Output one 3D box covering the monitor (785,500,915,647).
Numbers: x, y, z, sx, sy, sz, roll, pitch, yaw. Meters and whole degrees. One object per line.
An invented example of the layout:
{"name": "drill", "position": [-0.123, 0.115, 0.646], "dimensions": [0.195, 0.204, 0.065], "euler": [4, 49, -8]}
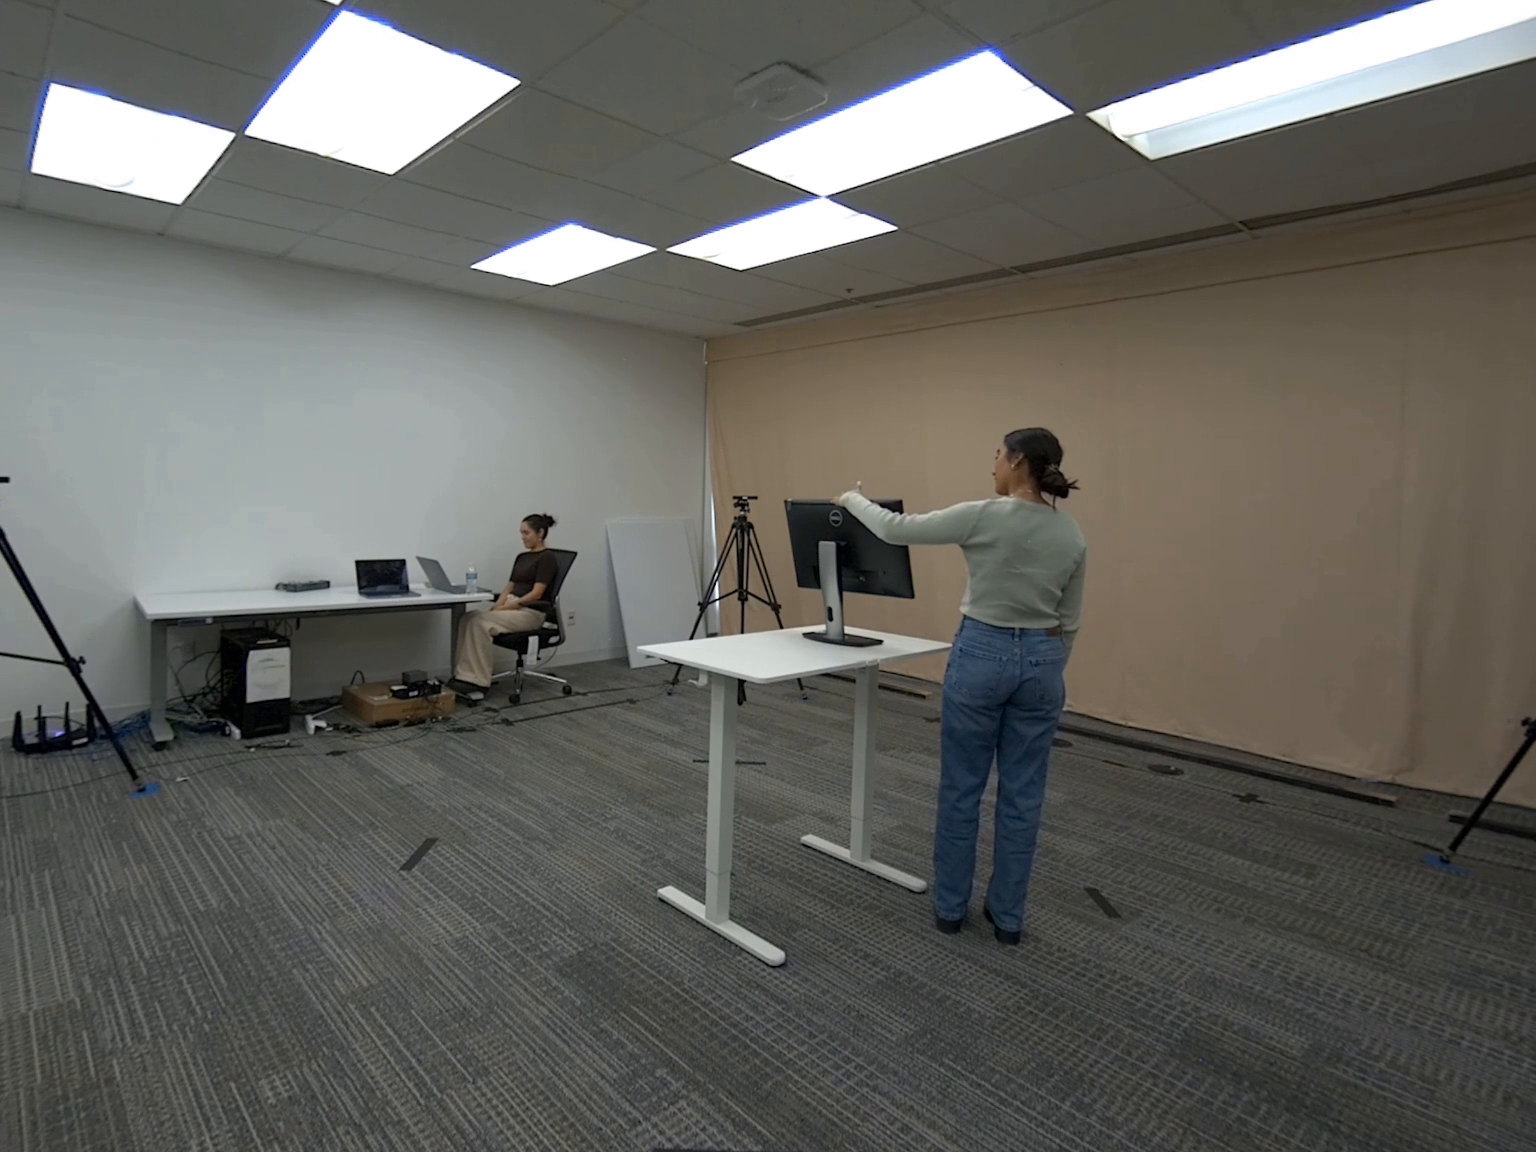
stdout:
{"name": "monitor", "position": [0.257, -0.015, 3.042], "dimensions": [0.553, 0.521, 0.183], "euler": [5, 6, 44]}
